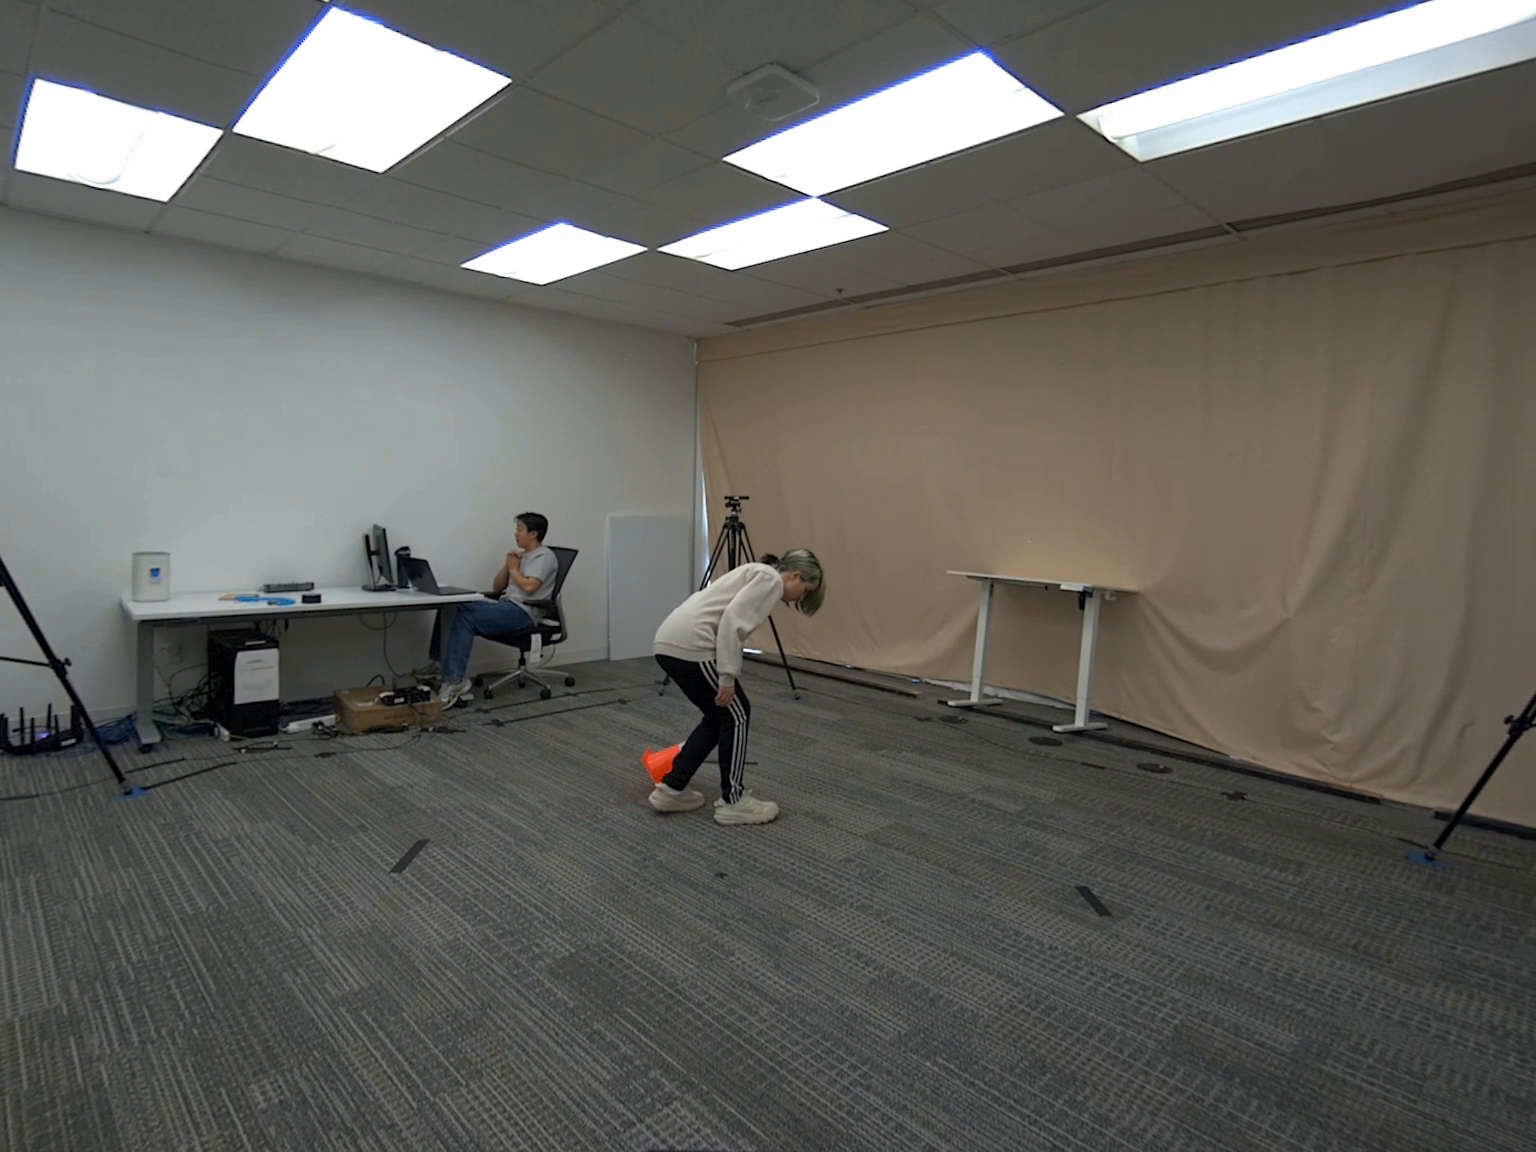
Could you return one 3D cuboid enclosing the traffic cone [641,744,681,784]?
[{"bbox_3d":[-0.379,0.831,3.977,0.384,0.204,0.204,-32,-2,4],"label":"traffic cone"}]
